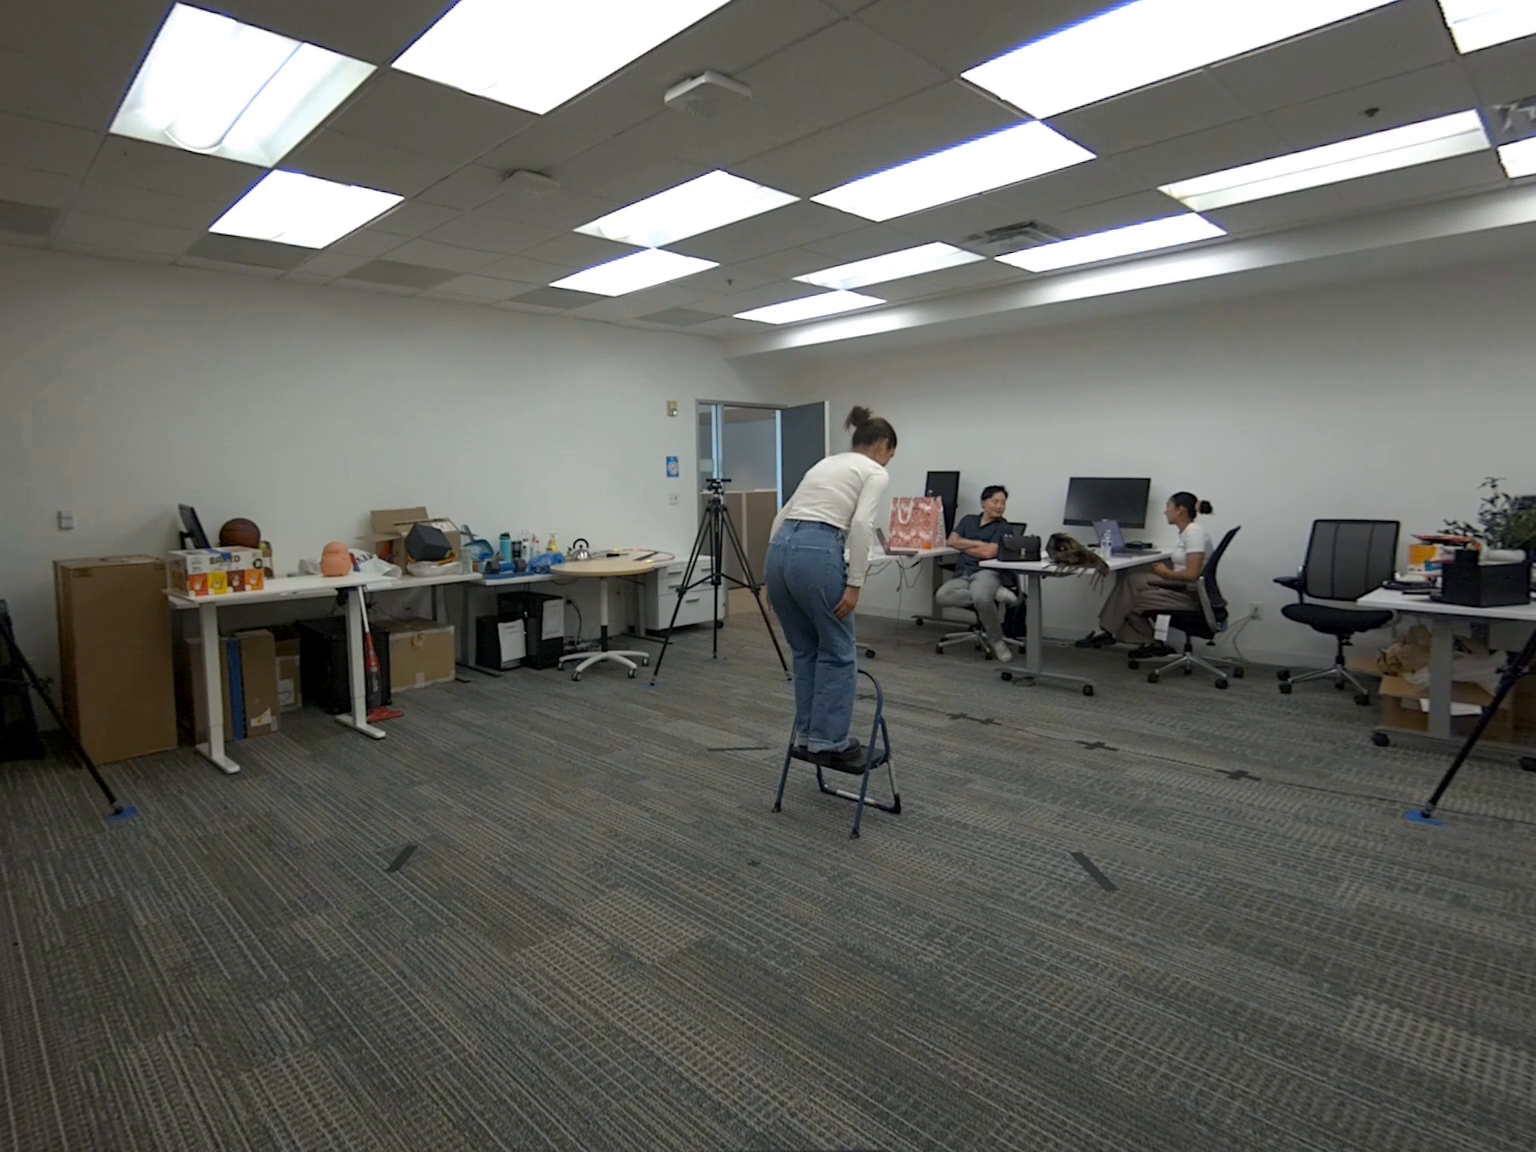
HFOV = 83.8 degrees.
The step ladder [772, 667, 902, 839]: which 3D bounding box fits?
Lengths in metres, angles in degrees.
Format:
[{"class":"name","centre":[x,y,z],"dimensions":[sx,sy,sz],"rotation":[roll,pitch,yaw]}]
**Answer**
[{"class":"step ladder","centre":[0.289,0.690,3.551],"dimensions":[0.444,0.604,0.340],"rotation":[4,6,42]}]
